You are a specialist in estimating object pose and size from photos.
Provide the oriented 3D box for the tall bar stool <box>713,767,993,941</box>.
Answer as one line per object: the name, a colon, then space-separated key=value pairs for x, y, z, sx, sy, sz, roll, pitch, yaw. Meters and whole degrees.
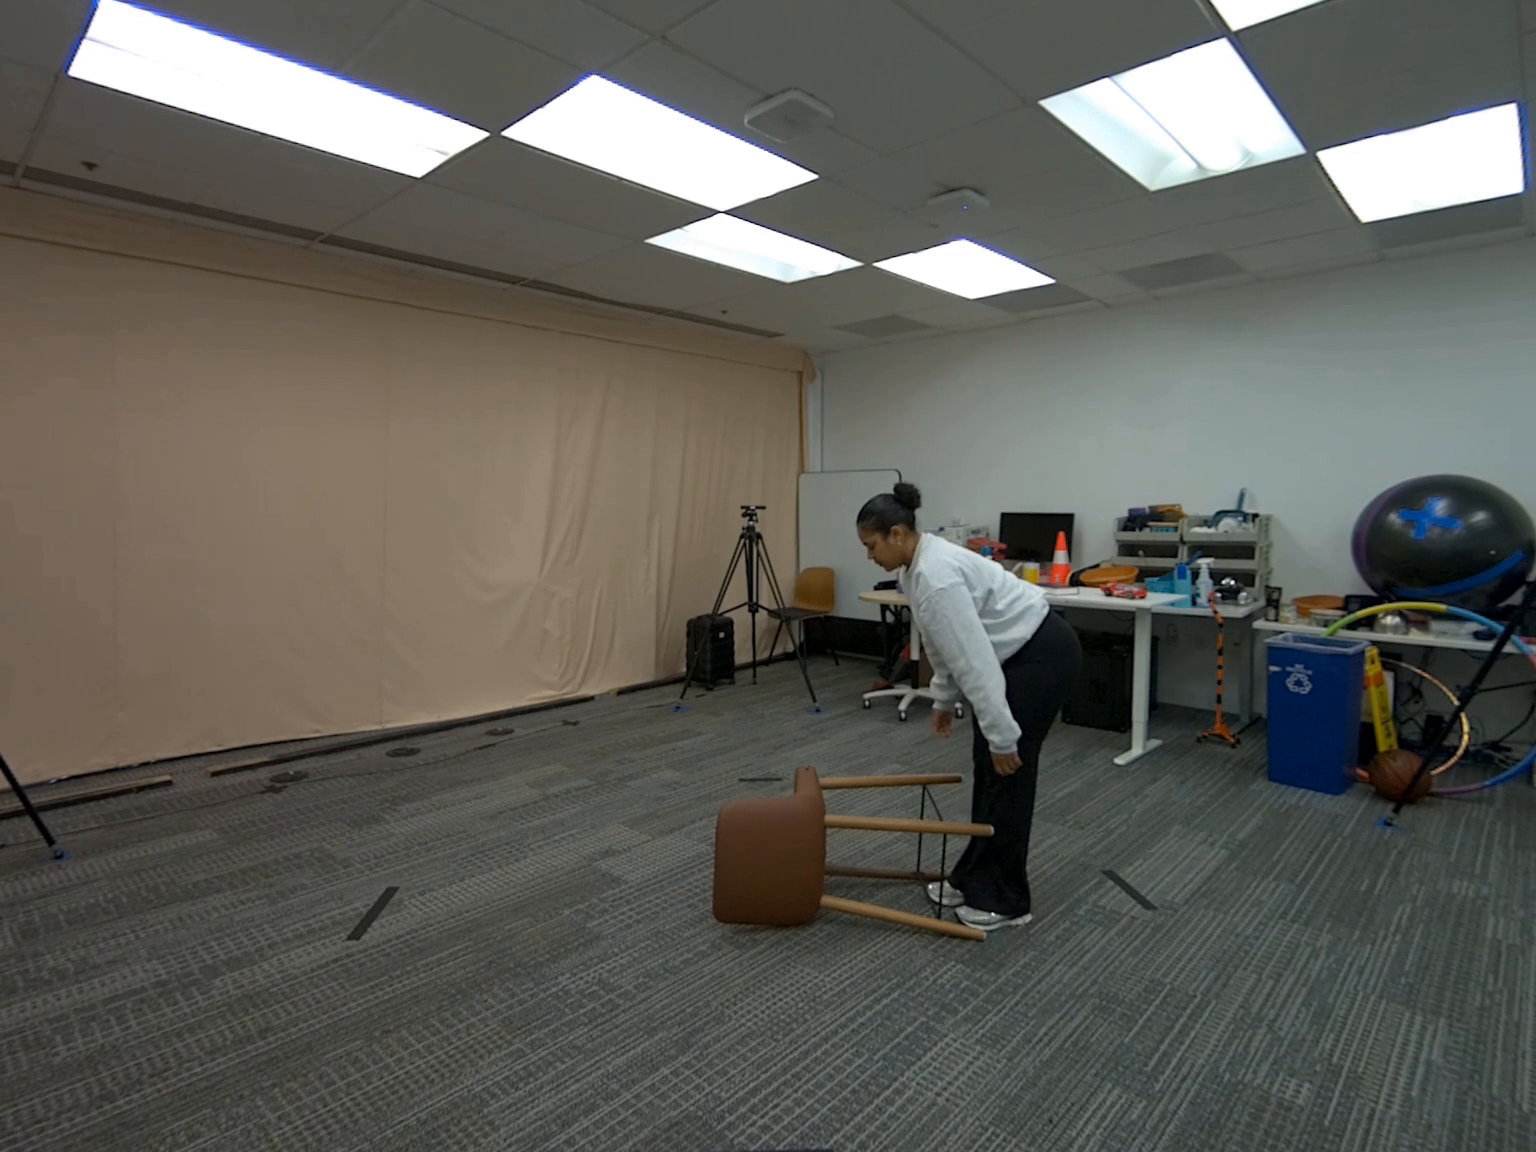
tall bar stool: x=0.271 y=0.941 z=2.907 sx=0.891 sy=0.455 sz=0.469 roll=2 pitch=6 yaw=1
